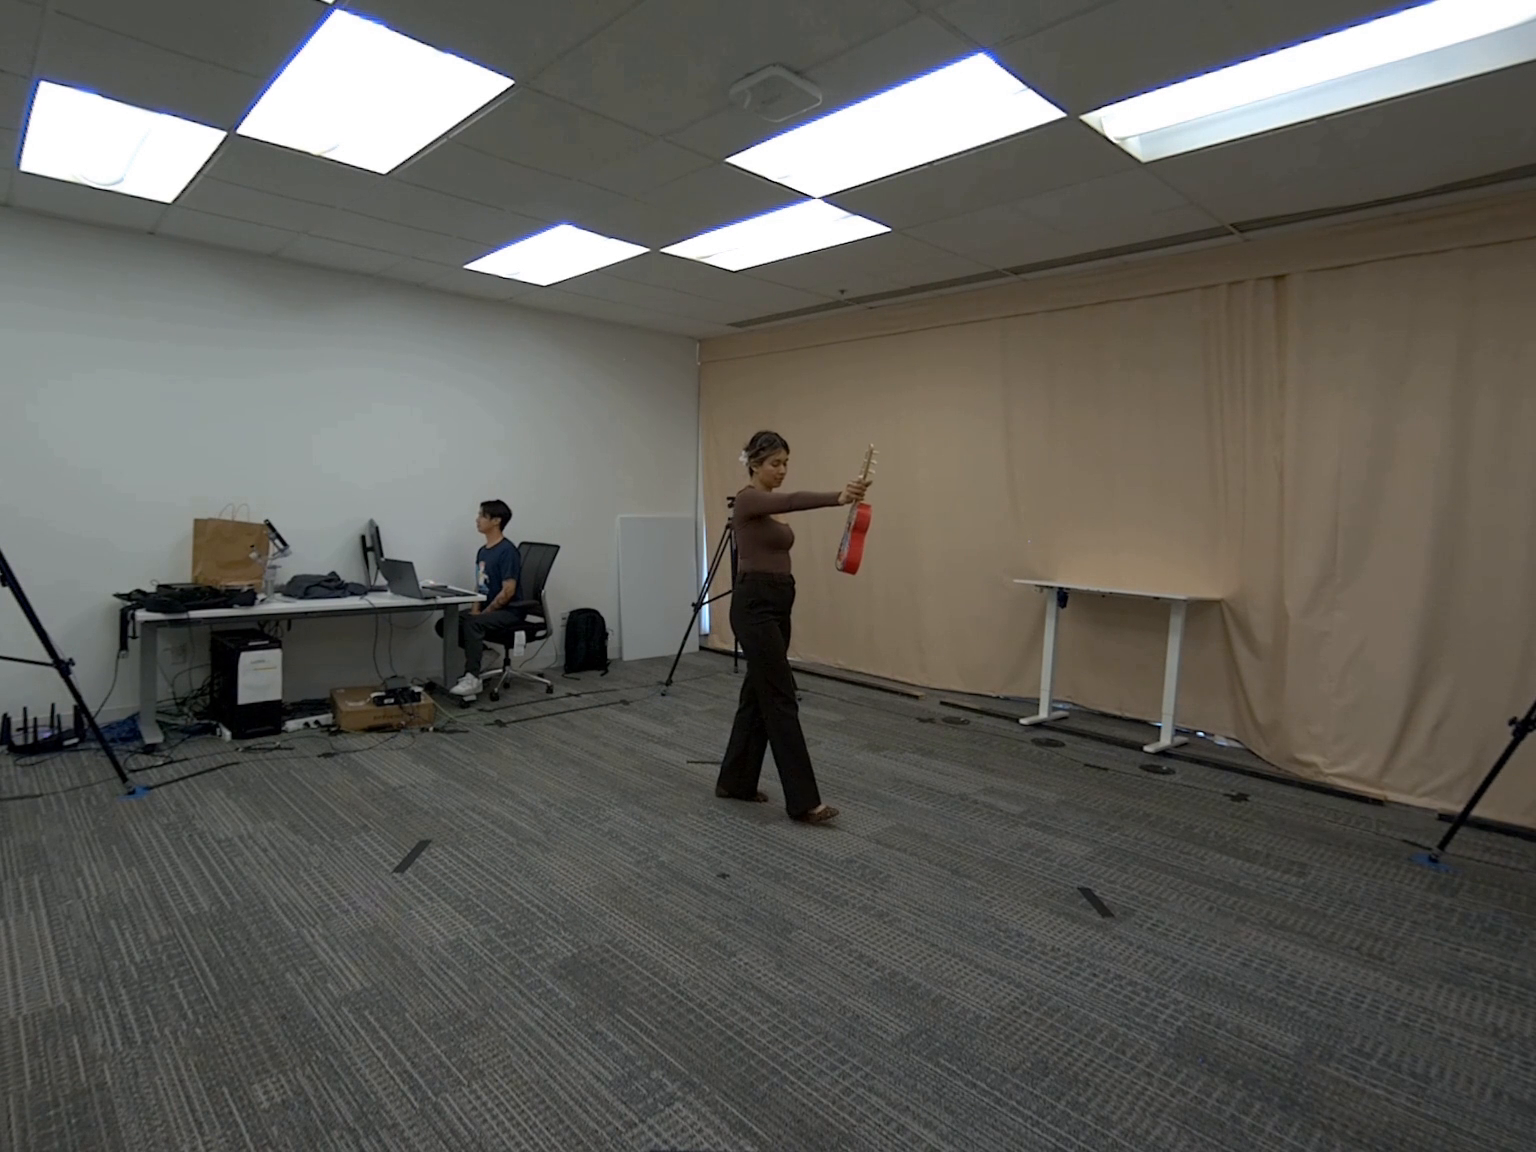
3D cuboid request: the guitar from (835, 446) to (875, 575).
[{"bbox_3d":[0.350,-0.245,3.203,0.070,0.493,0.195,12,16,-4],"label":"guitar"}]
